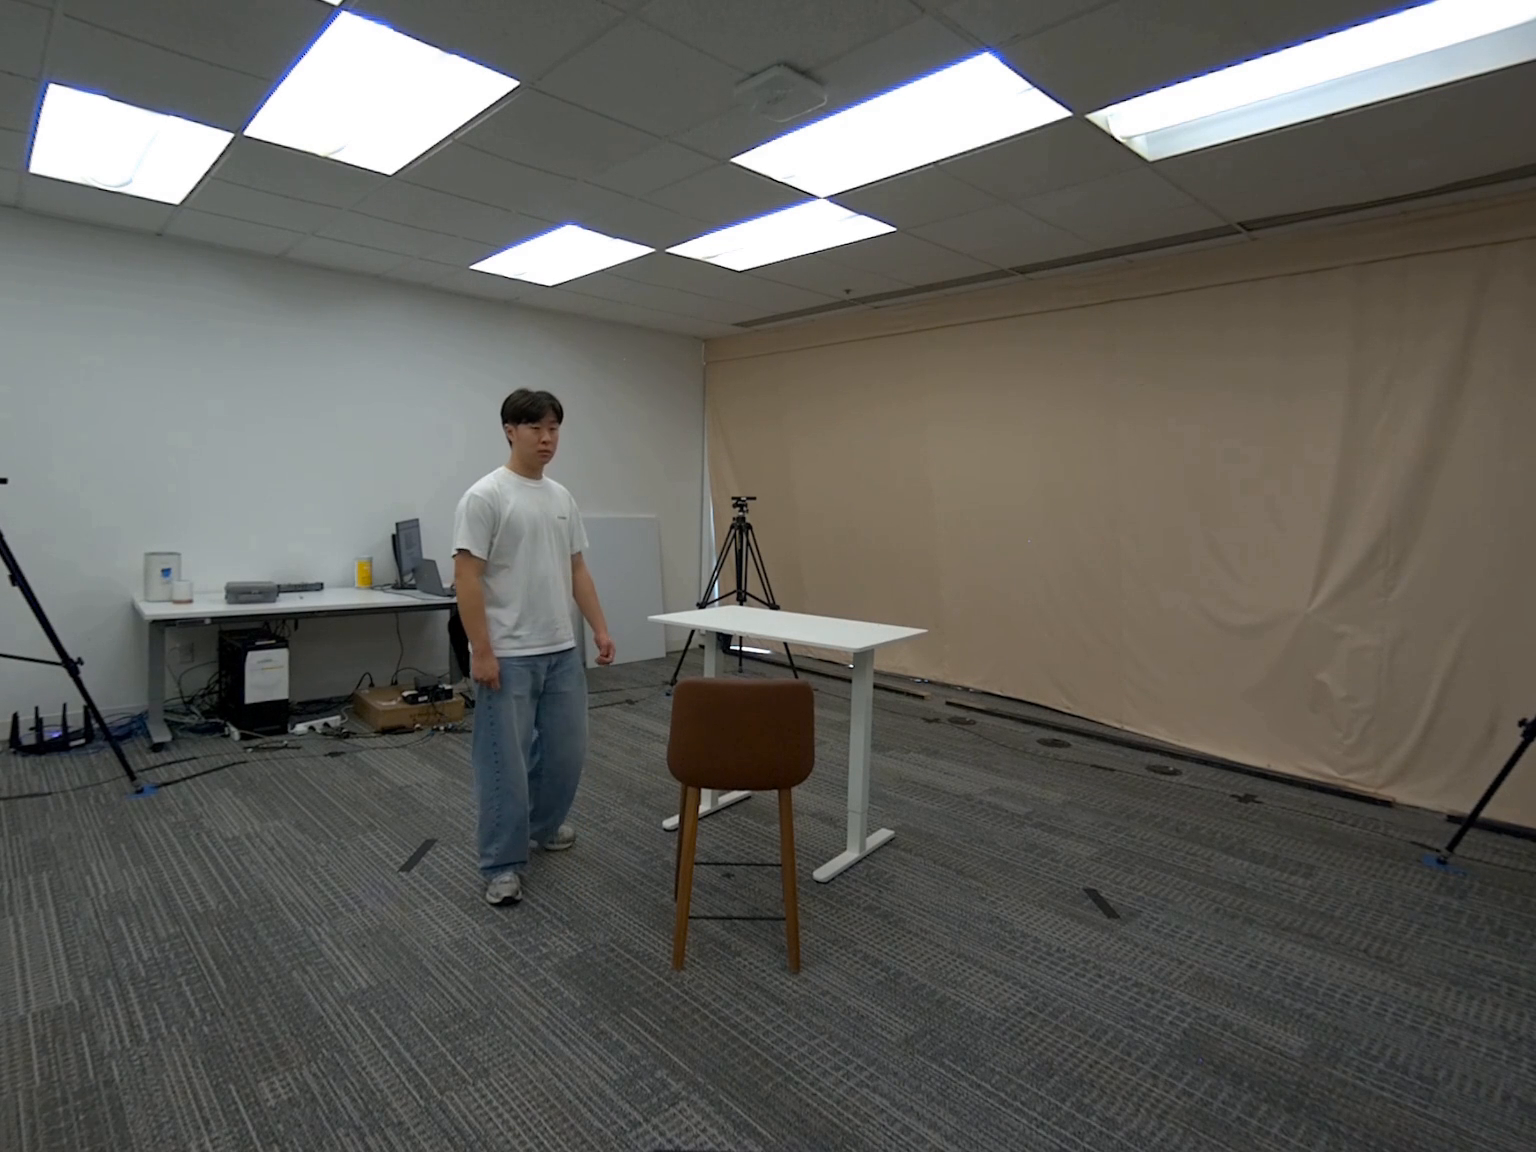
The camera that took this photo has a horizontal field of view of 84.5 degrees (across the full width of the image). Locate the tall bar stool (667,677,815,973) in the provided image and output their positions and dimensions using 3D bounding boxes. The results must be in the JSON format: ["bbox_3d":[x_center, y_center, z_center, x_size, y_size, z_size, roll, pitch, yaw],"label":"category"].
[{"bbox_3d":[-0.108,0.714,2.663,0.455,0.886,0.471,1,5,-4],"label":"tall bar stool"}]
